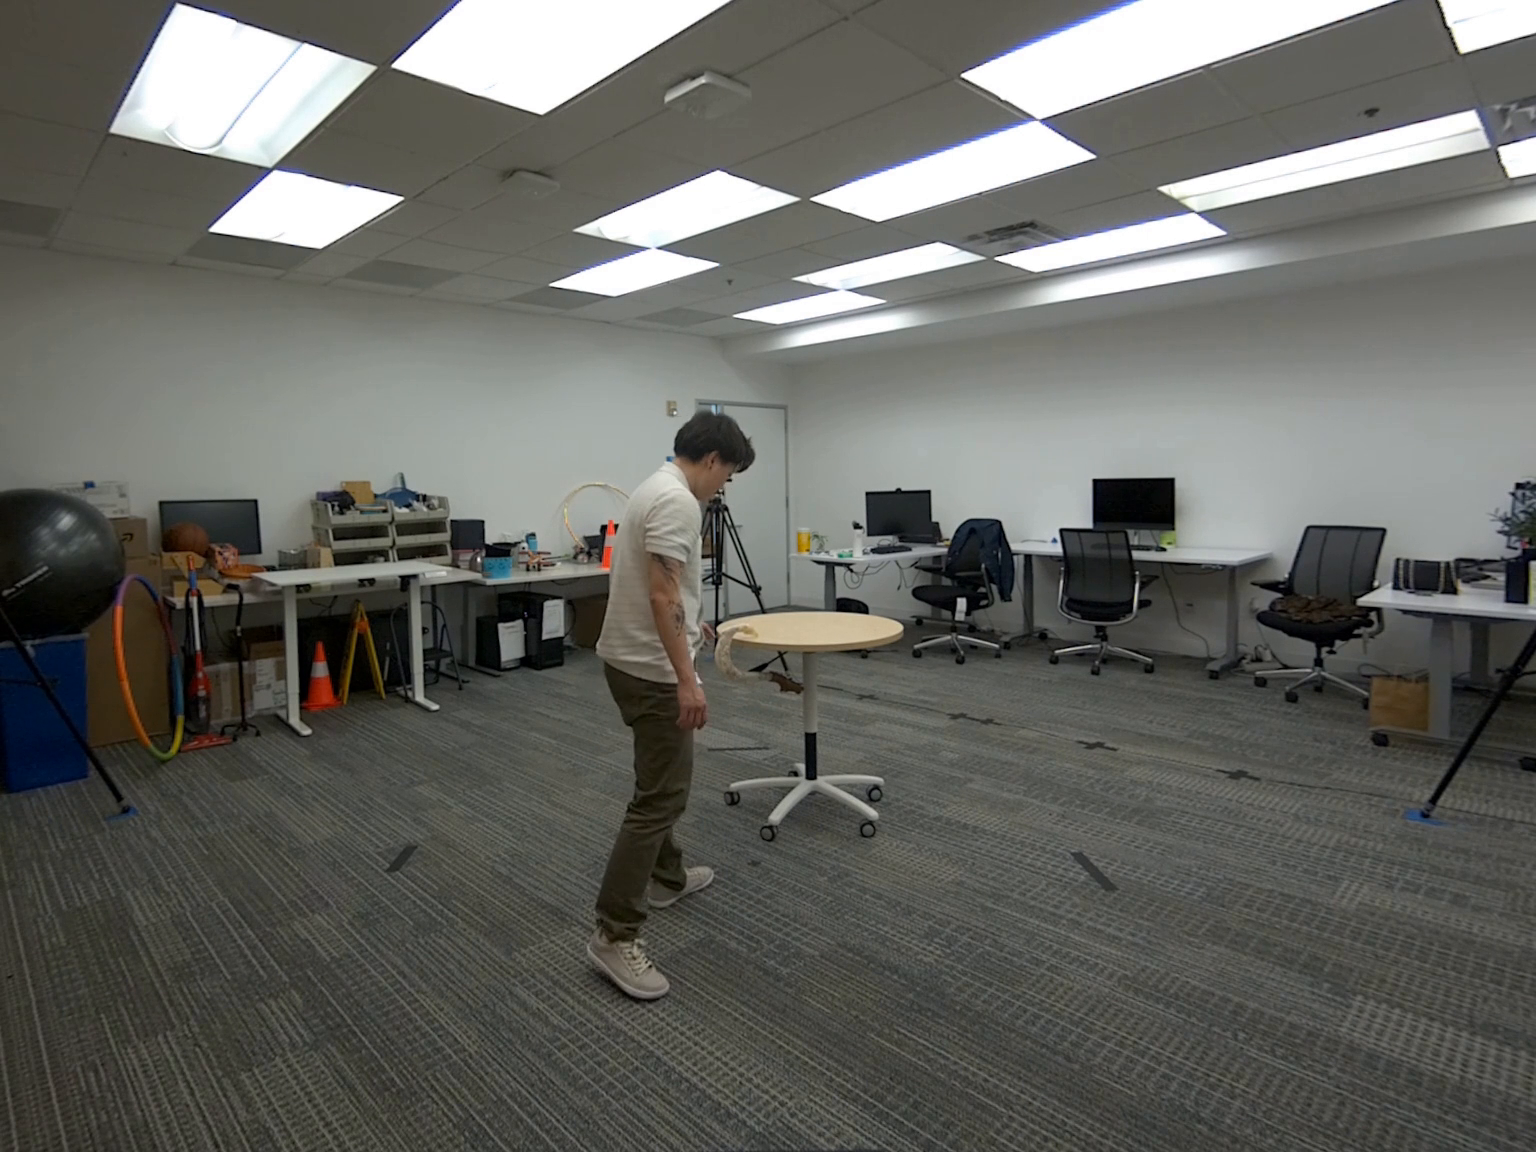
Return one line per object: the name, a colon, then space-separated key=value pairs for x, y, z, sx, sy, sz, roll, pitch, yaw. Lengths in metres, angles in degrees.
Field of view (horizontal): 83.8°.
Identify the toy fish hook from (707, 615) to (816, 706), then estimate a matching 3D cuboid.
toy fish hook: x=-0.017 y=0.335 z=3.348 sx=0.049 sy=0.227 sz=0.488 roll=-2 pitch=-21 yaw=46
